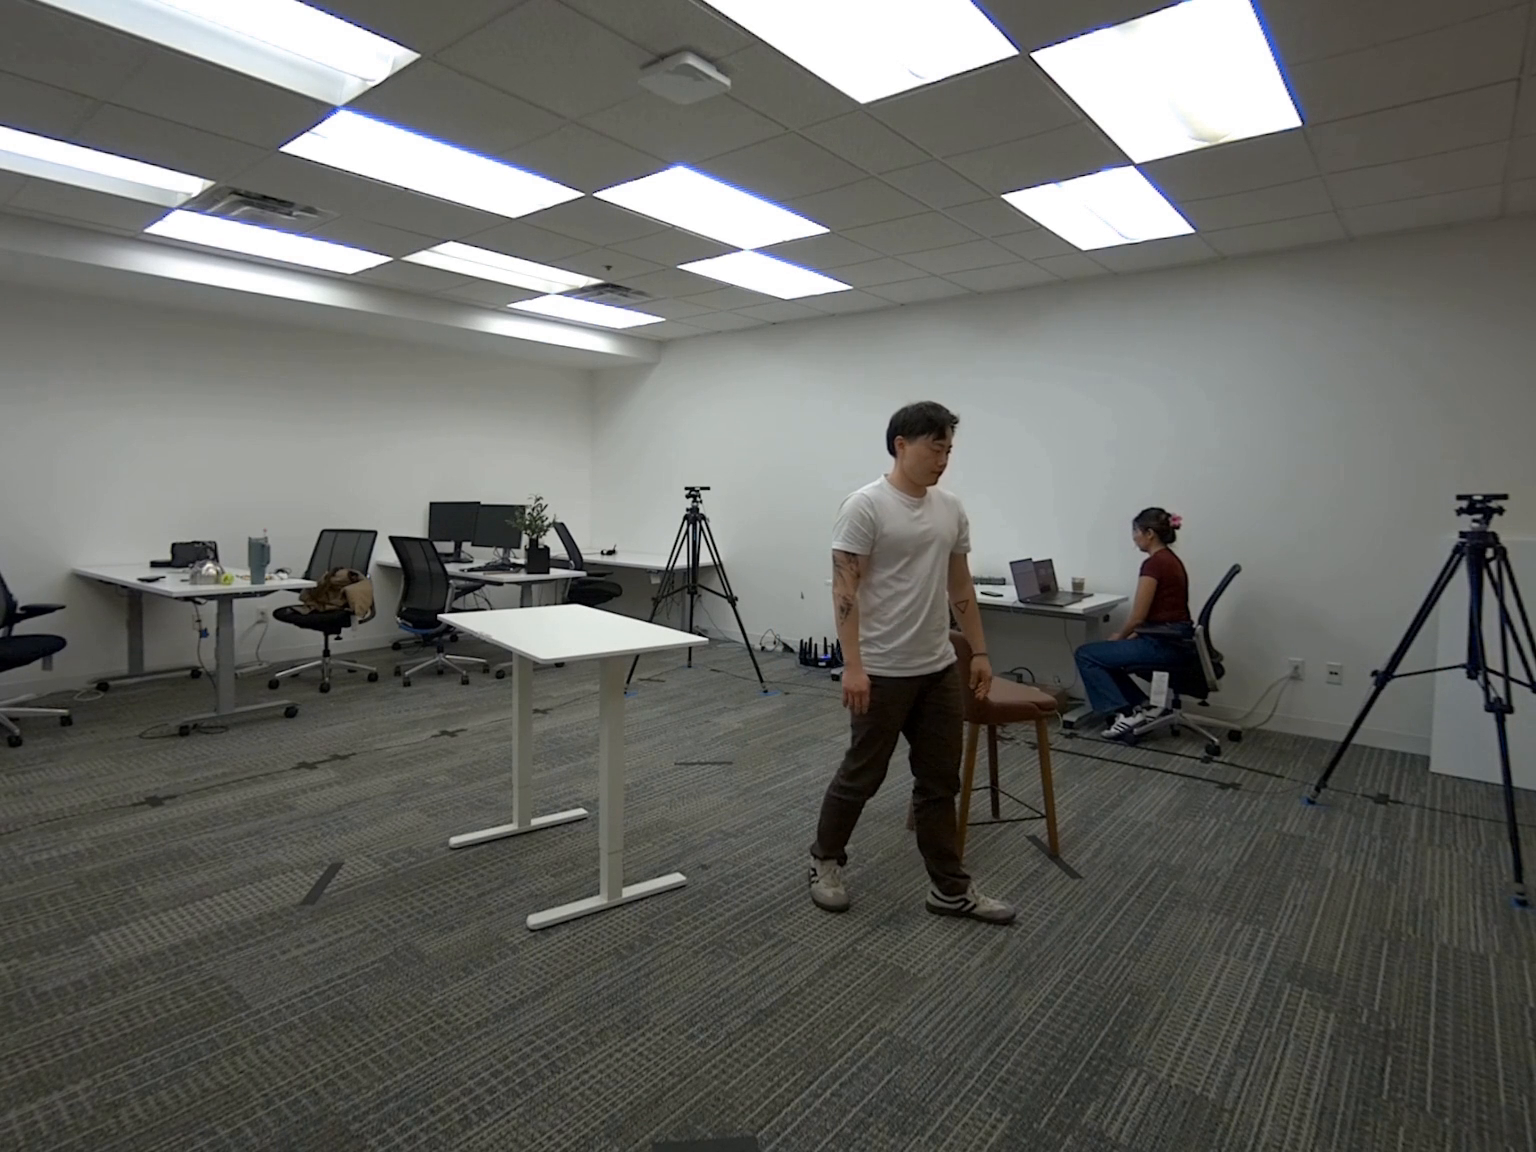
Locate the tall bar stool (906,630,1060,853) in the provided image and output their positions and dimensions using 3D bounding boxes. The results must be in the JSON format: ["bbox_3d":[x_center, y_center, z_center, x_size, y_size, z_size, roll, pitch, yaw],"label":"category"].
[{"bbox_3d":[0.844,0.623,3.387,0.459,0.886,0.466,-2,4,-19],"label":"tall bar stool"}]
